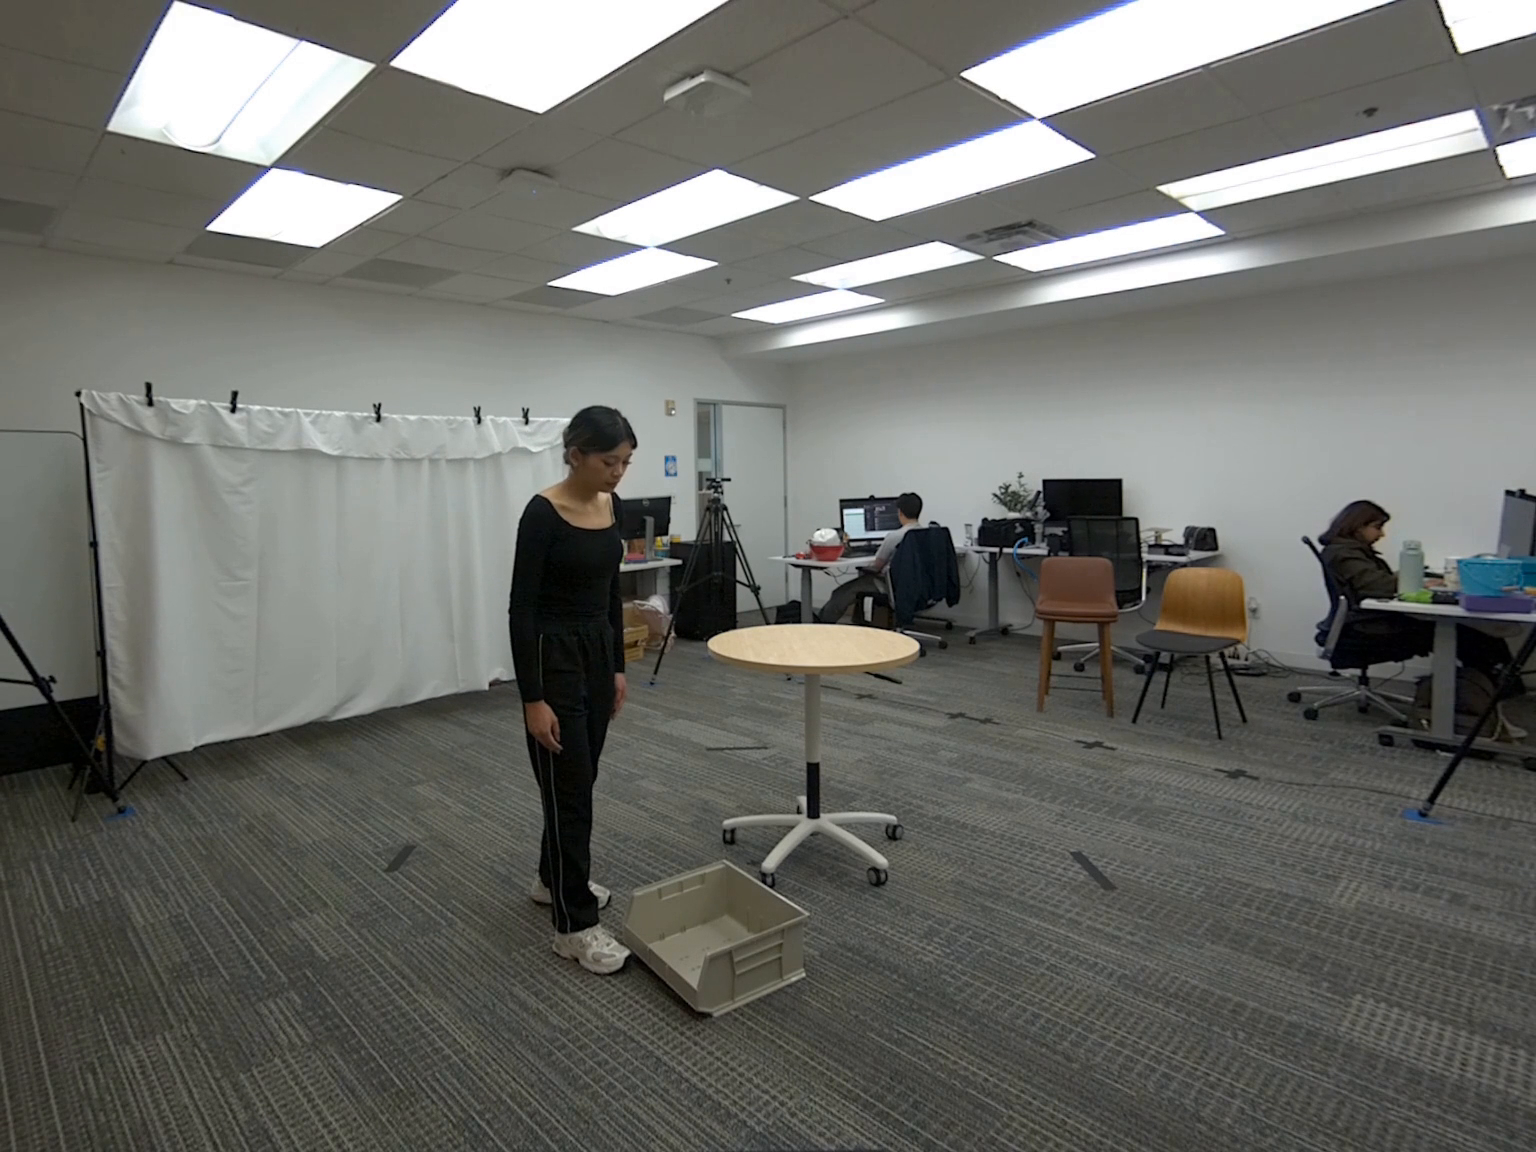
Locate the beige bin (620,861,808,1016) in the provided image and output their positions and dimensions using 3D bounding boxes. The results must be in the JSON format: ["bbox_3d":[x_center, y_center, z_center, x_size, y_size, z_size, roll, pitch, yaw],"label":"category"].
[{"bbox_3d":[-0.152,1.031,2.455,0.368,0.188,0.435,-5,6,-35],"label":"beige bin"}]
